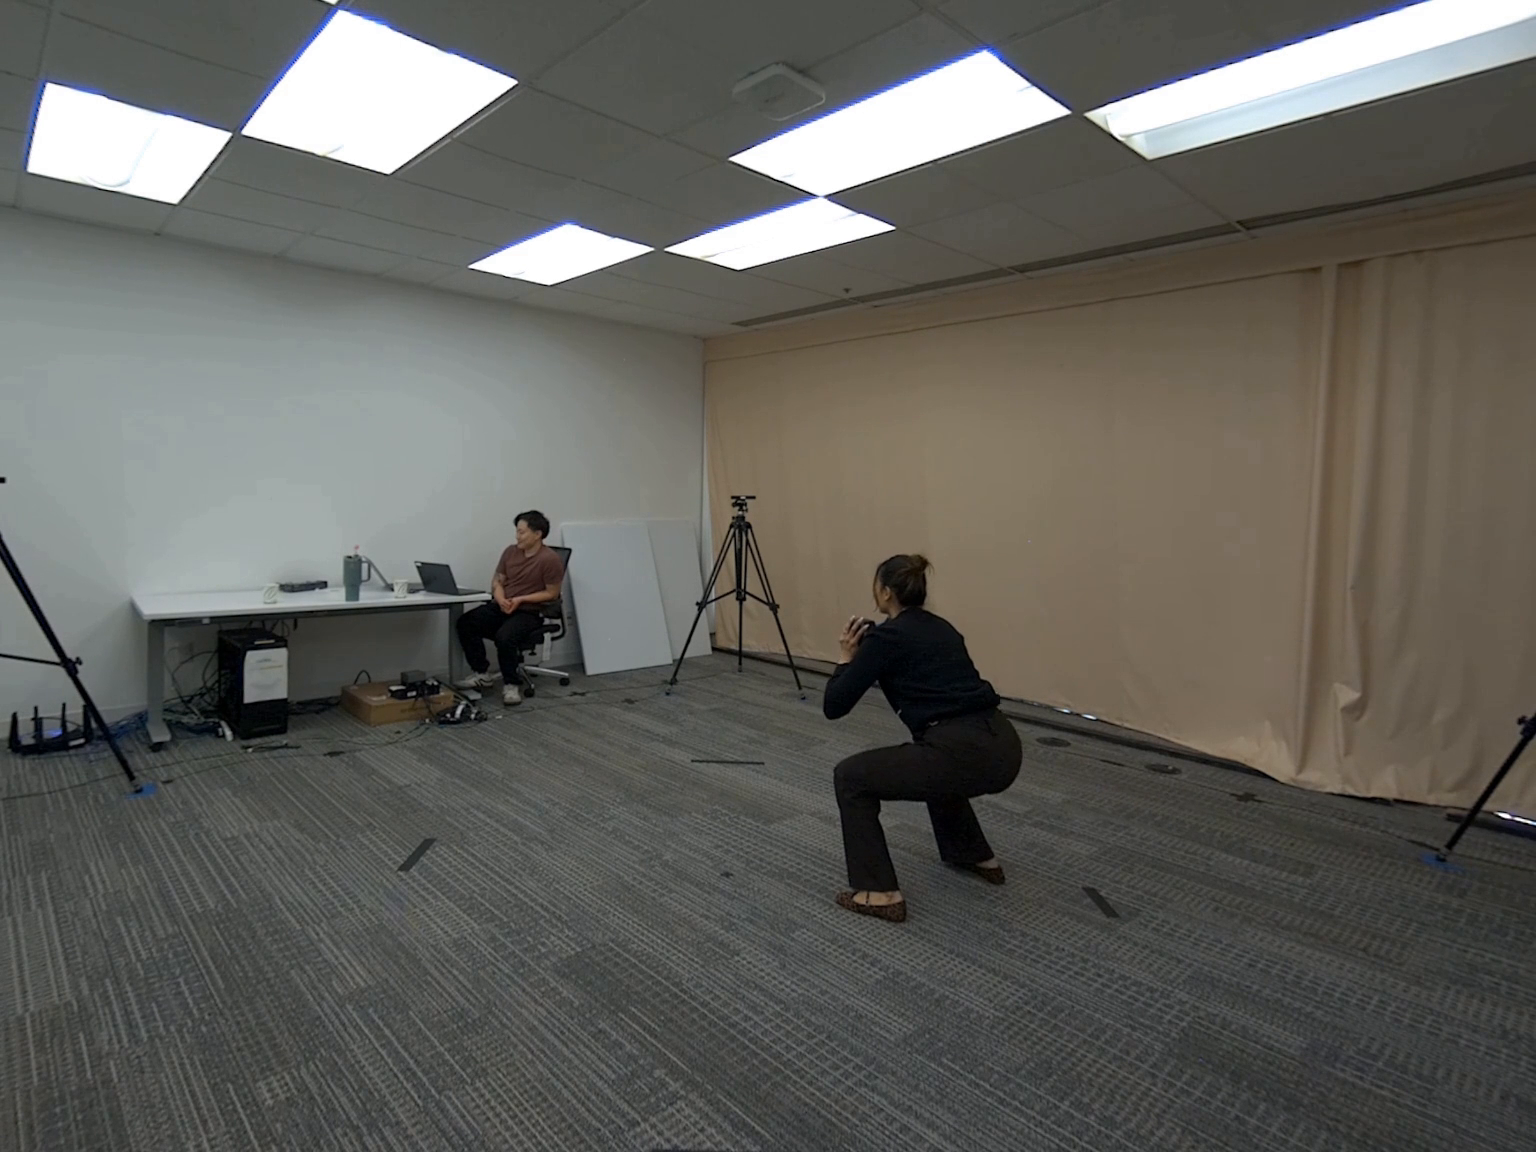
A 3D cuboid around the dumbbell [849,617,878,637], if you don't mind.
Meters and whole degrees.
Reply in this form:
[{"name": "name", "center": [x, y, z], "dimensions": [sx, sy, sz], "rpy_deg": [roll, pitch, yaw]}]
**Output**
[{"name": "dumbbell", "center": [0.442, 0.208, 3.203], "dimensions": [0.287, 0.122, 0.112], "rpy_deg": [-3, 43, -38]}]
